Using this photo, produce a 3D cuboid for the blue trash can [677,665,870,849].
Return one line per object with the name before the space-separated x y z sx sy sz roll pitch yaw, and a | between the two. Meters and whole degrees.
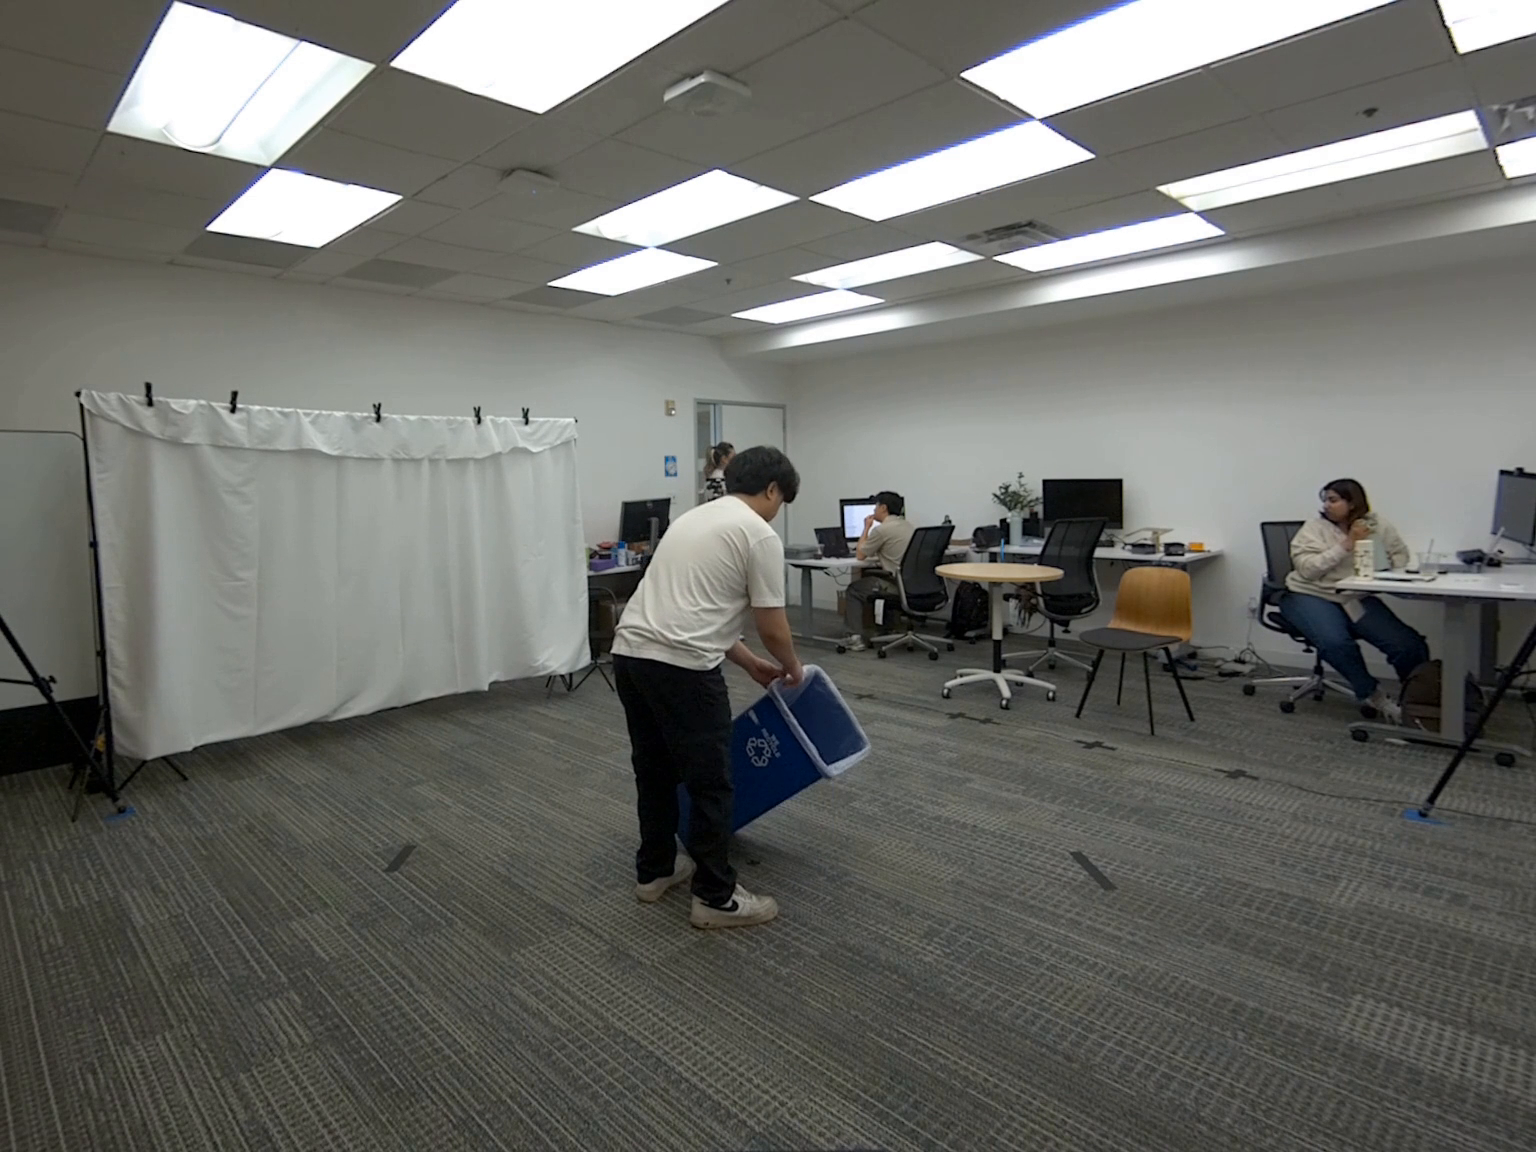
blue trash can | -0.034 0.706 3.143 0.715 0.382 0.370 -42 -16 27
